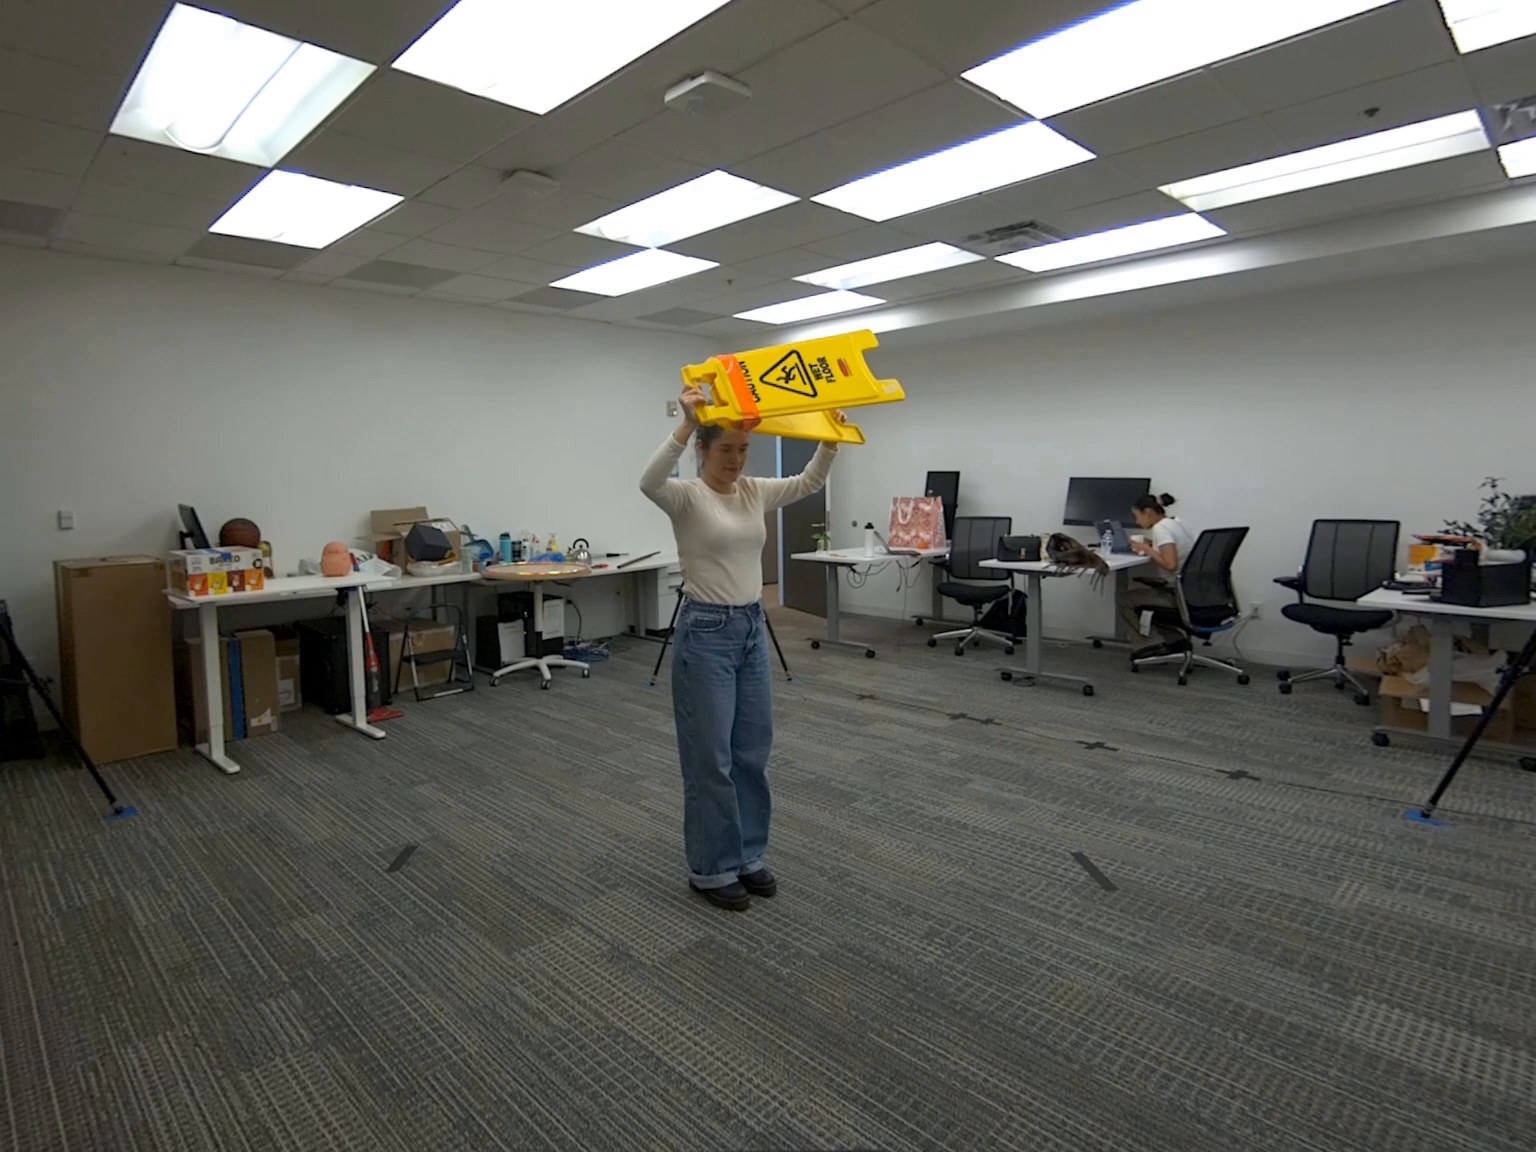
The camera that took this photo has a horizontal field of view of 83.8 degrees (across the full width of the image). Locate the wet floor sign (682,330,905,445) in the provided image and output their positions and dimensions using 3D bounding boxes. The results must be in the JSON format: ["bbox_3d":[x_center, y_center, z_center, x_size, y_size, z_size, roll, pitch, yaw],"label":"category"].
[{"bbox_3d":[0.053,-0.563,2.603,0.632,0.289,0.289,-9,-24,-31],"label":"wet floor sign"}]
